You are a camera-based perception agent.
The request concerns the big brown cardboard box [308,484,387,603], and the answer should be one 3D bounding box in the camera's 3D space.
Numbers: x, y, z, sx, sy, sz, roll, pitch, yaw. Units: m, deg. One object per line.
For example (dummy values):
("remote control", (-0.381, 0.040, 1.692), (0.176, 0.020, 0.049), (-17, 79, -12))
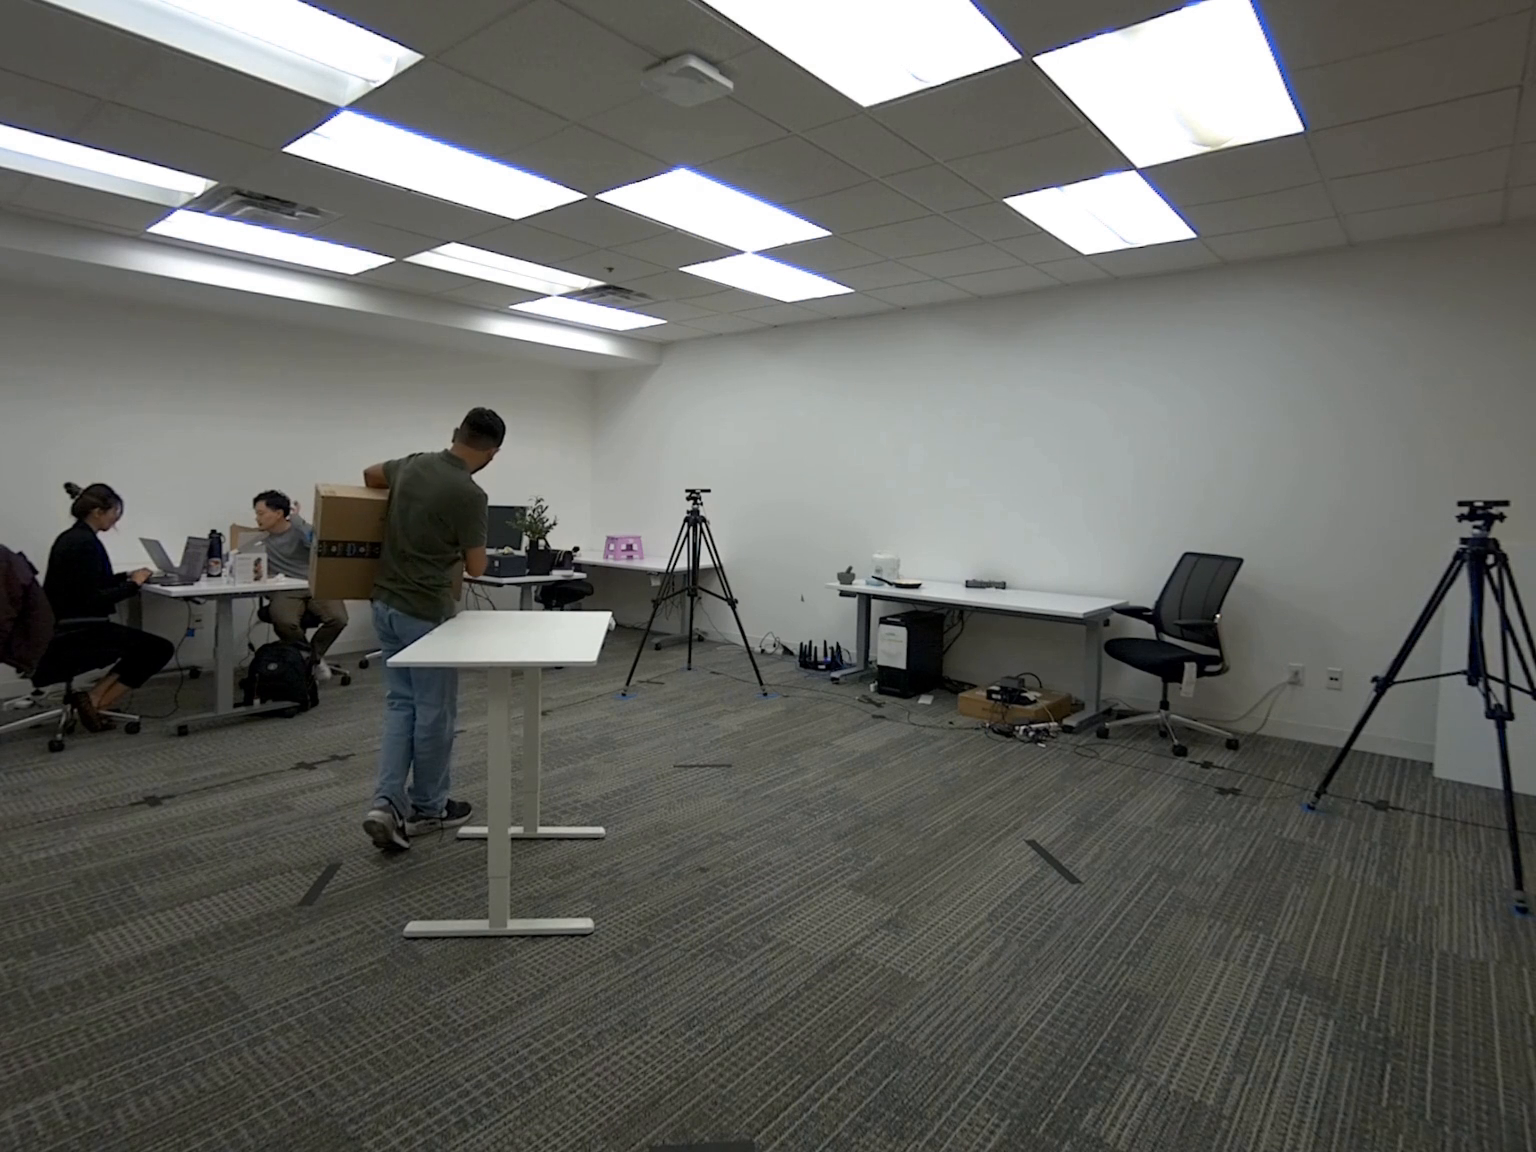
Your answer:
("big brown cardboard box", (-1.564, -0.131, 3.465), (0.572, 0.414, 0.242), (2, 14, -32))
